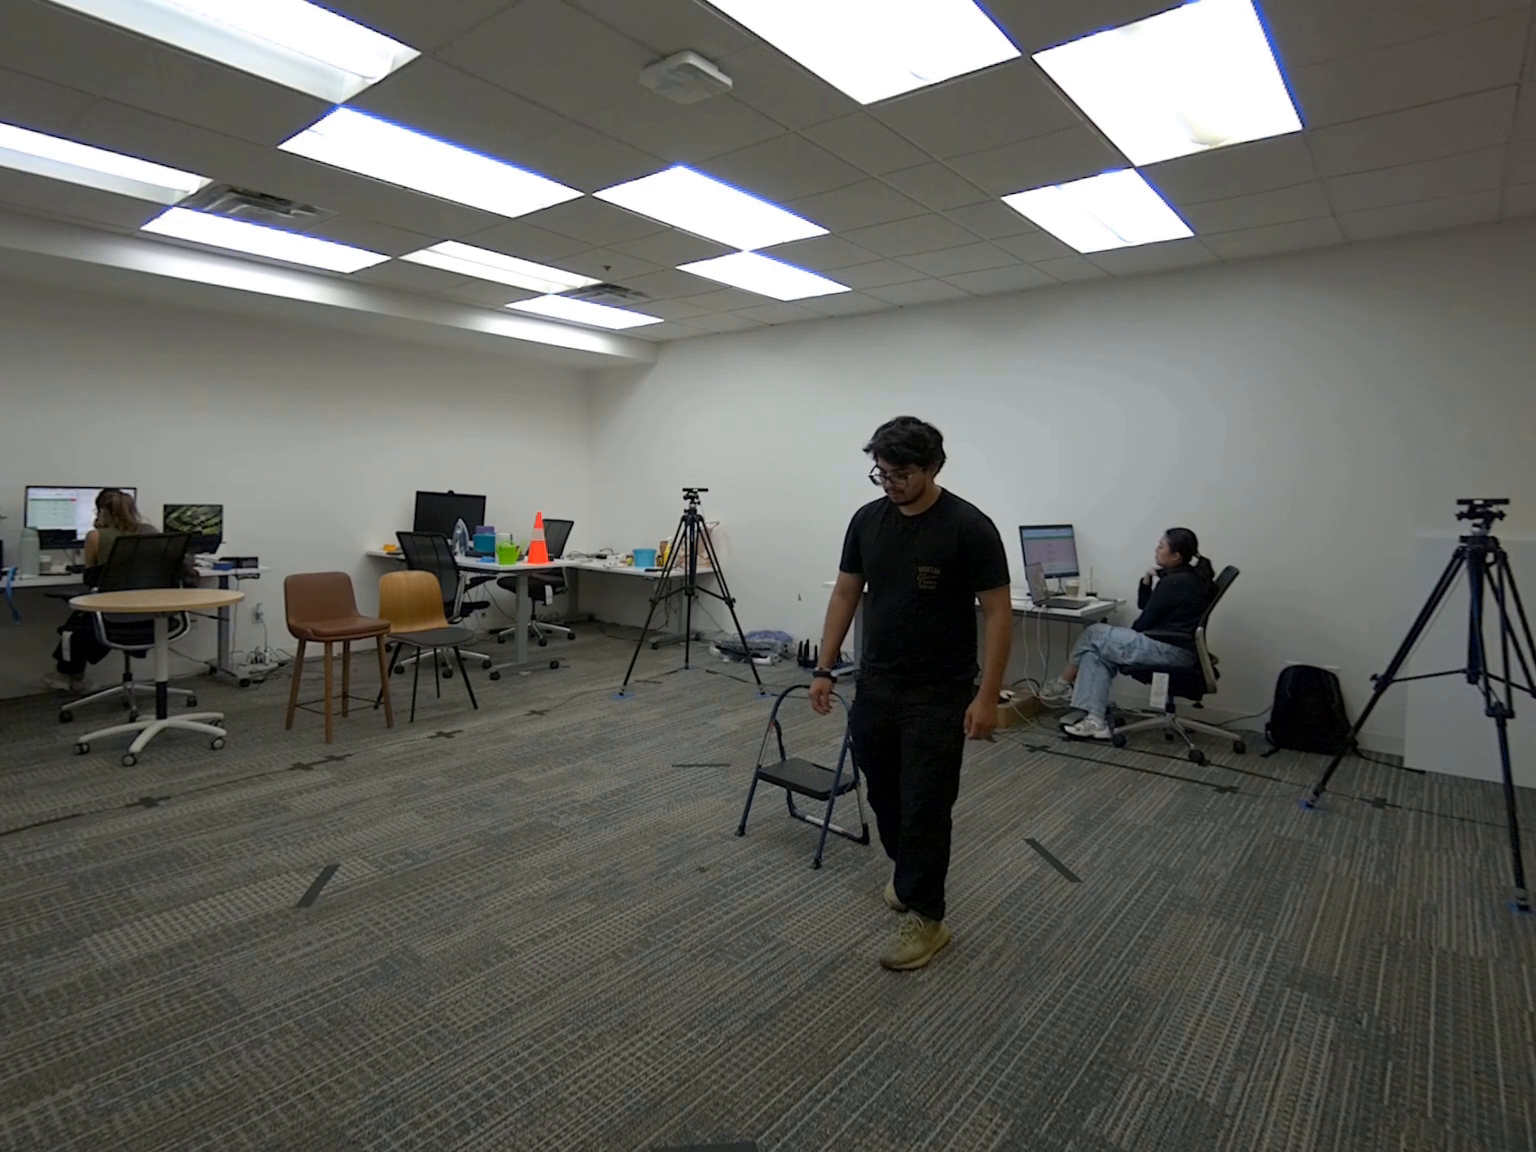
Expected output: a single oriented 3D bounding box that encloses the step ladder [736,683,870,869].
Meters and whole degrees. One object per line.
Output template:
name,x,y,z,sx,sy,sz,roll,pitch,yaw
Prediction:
step ladder,0.137,0.748,3.384,0.445,0.604,0.339,5,5,44
